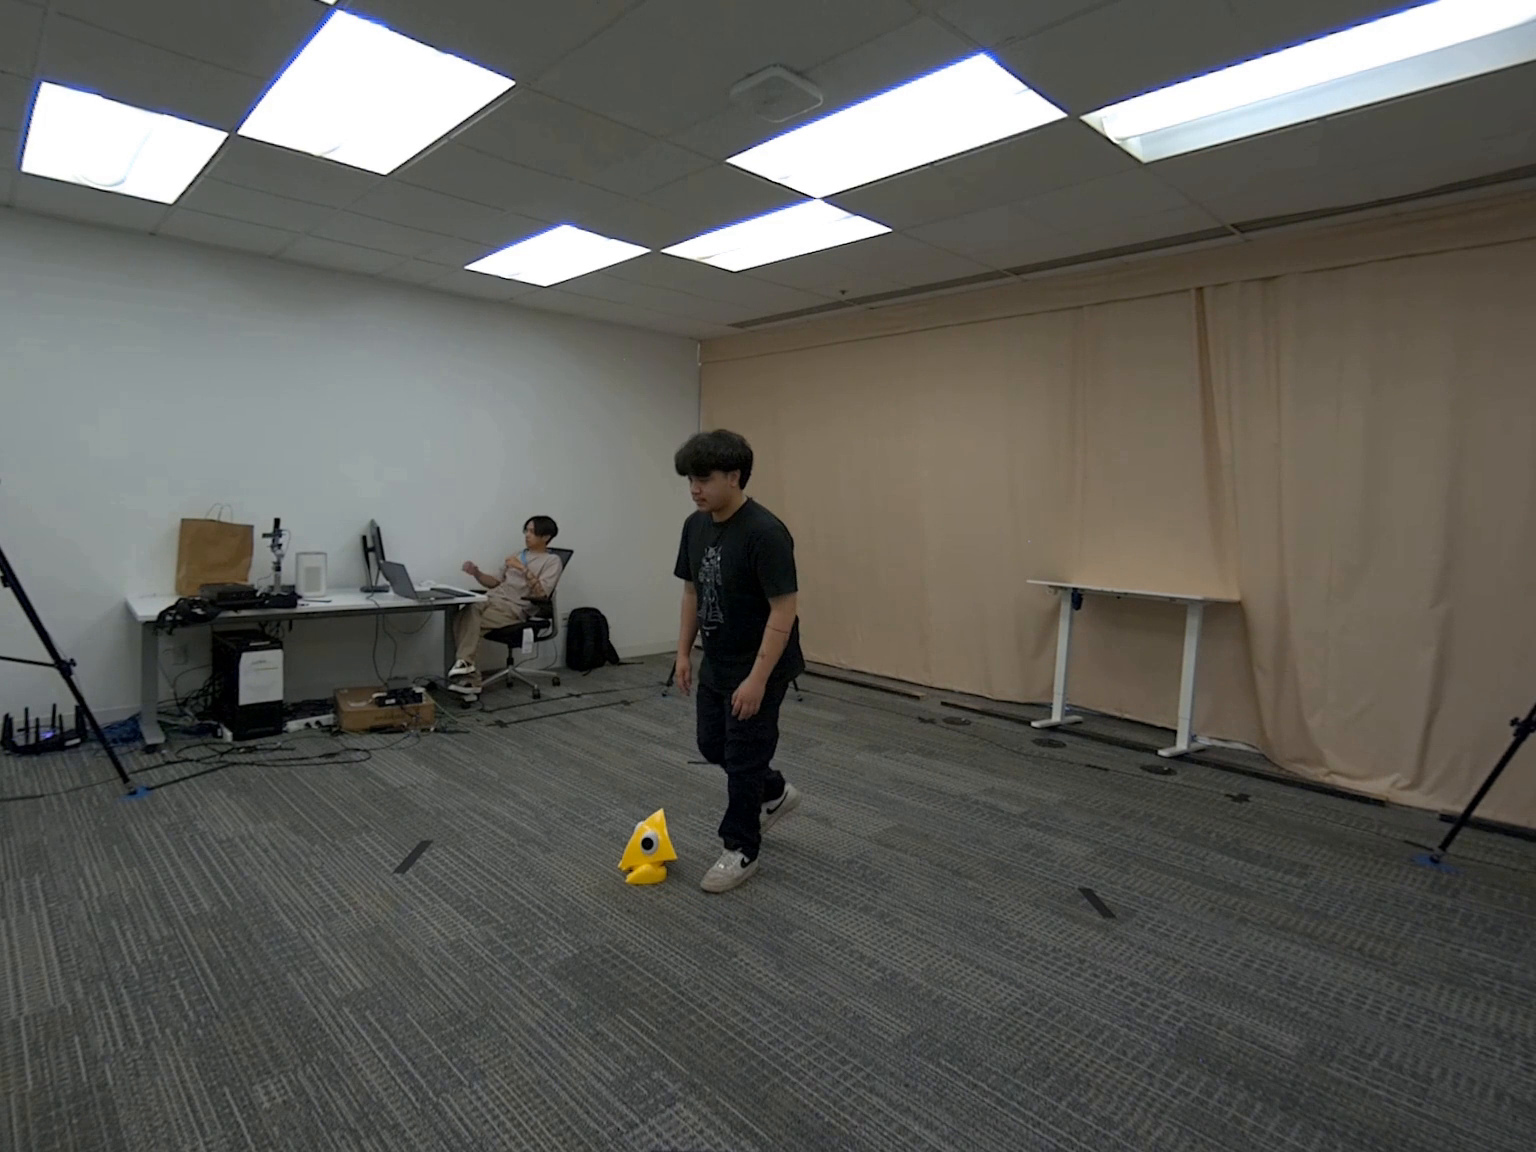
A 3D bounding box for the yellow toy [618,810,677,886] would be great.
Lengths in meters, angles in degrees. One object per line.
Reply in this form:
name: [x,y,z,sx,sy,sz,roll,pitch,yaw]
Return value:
yellow toy: [-0.454,0.982,3.124,0.190,0.230,0.209,0,5,-22]
